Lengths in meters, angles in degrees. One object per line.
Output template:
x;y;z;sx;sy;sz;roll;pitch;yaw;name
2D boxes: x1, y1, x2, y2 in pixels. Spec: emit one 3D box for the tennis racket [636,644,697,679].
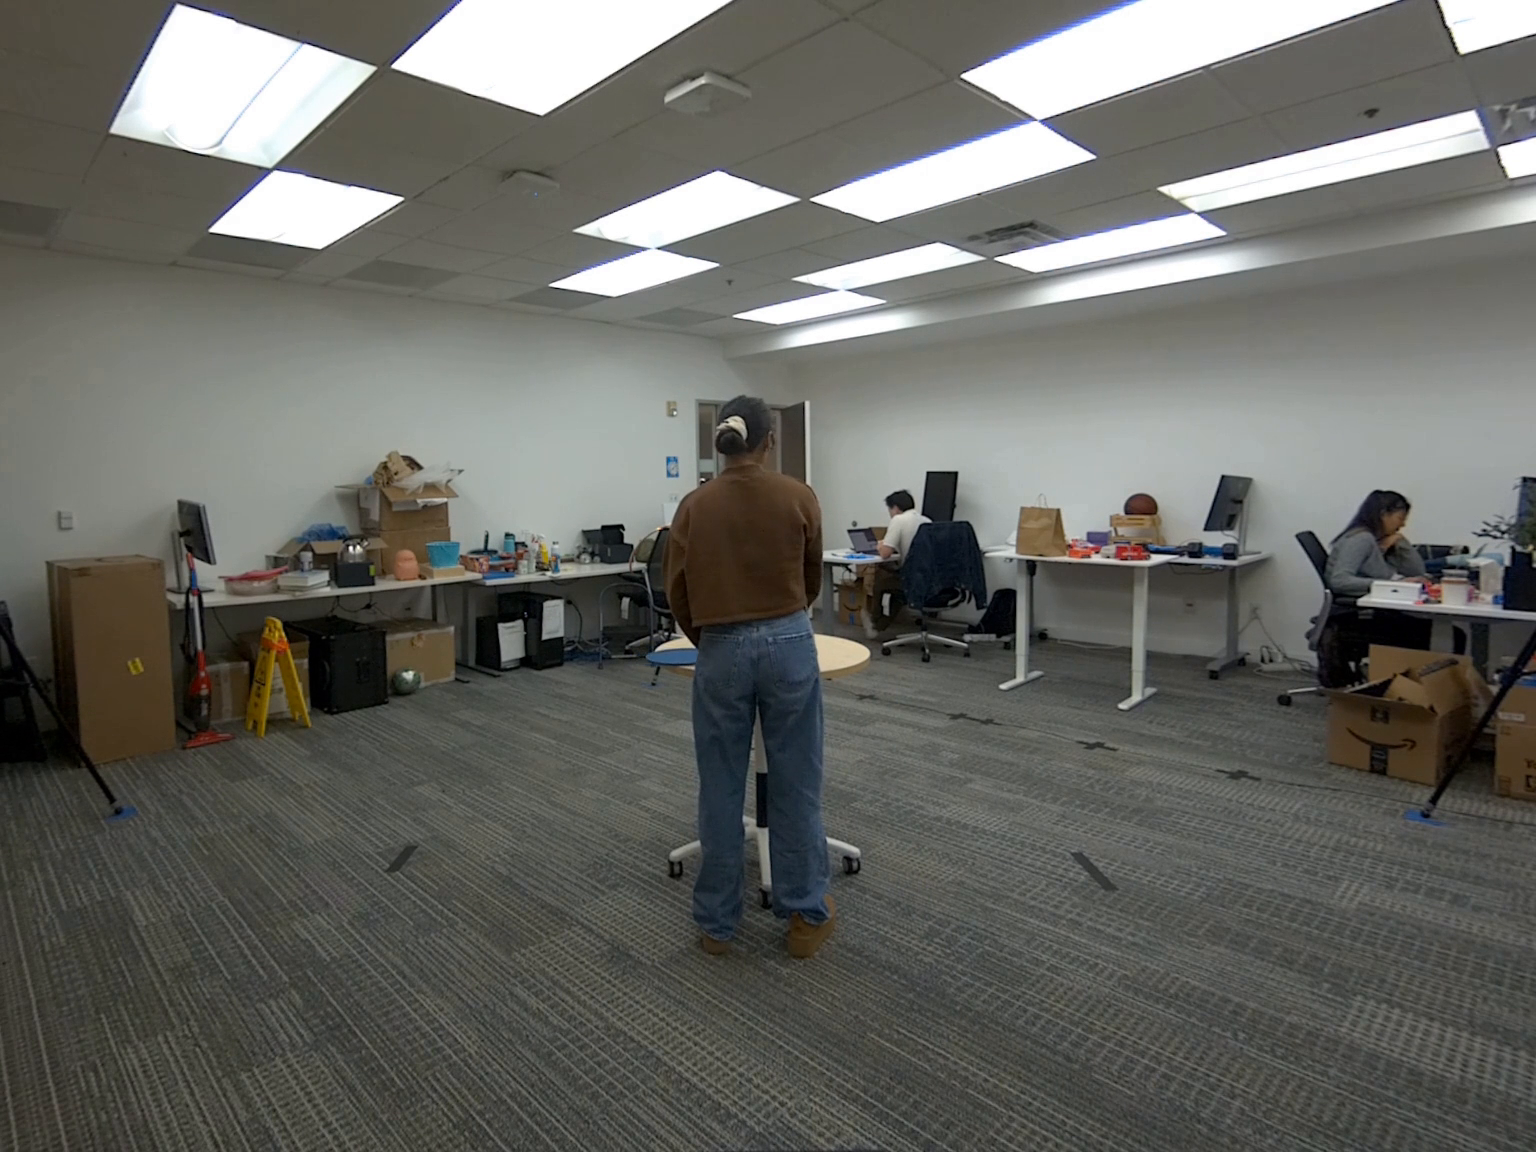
-0.219;0.289;2.843;0.208;0.031;0.446;-9;11;-44;tennis racket
